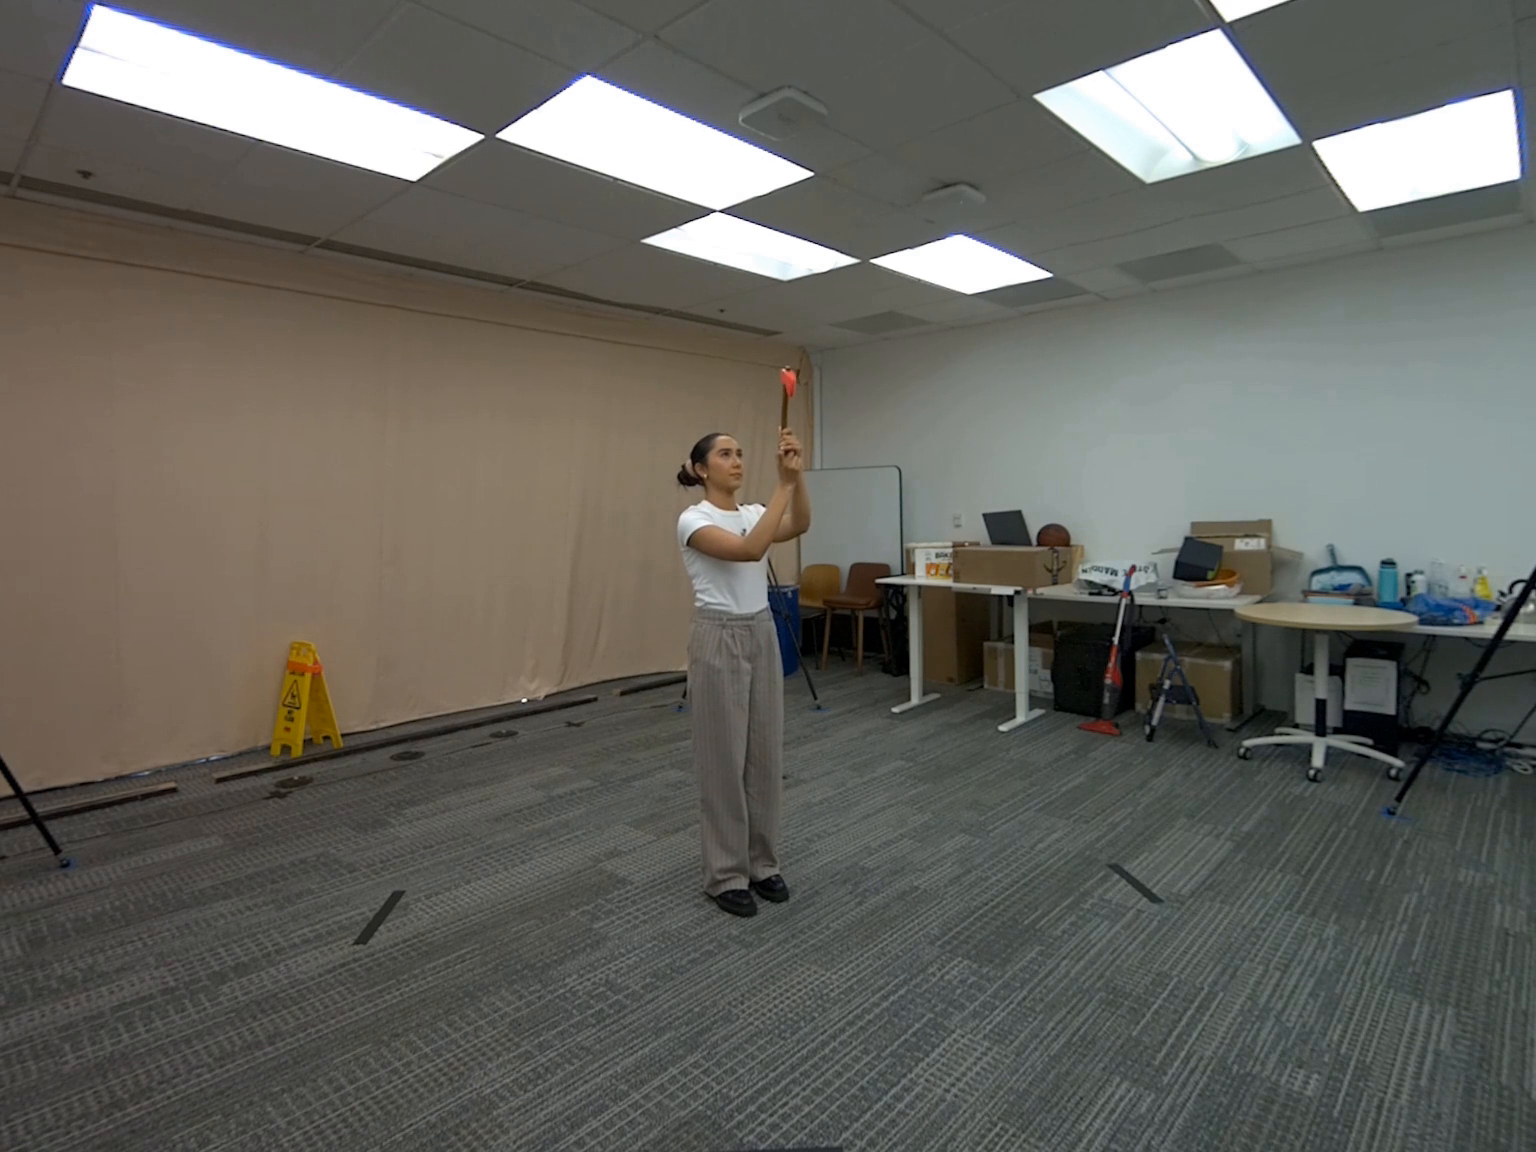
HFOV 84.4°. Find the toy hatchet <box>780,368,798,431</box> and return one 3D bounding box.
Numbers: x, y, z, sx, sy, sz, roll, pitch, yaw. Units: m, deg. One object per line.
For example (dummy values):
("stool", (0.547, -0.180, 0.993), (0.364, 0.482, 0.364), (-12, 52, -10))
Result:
("toy hatchet", (0.072, -0.517, 2.621), (0.029, 0.269, 0.134), (-1, 7, -19))
